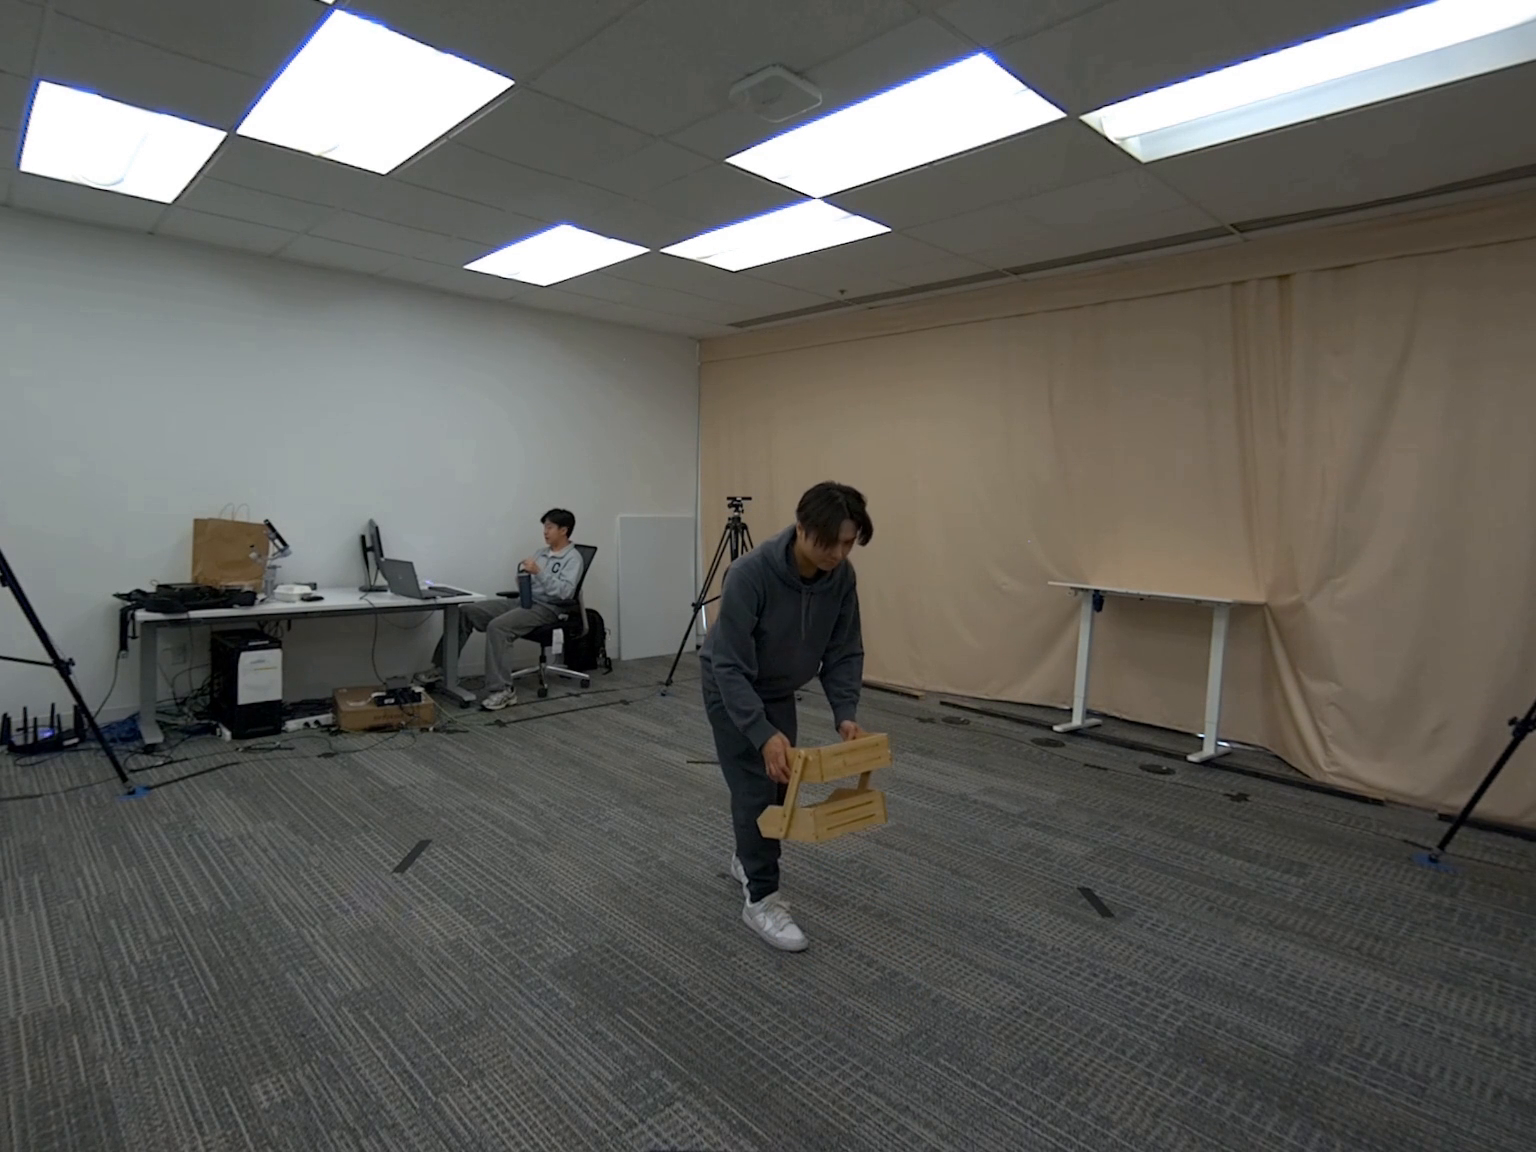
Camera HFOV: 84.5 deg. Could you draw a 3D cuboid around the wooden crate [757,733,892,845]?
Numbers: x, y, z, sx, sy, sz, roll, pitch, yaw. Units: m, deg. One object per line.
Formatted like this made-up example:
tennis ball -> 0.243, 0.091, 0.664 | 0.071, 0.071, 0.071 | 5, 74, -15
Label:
wooden crate -> 0.163, 0.623, 2.525 | 0.317, 0.275, 0.307 | -1, -7, -40
